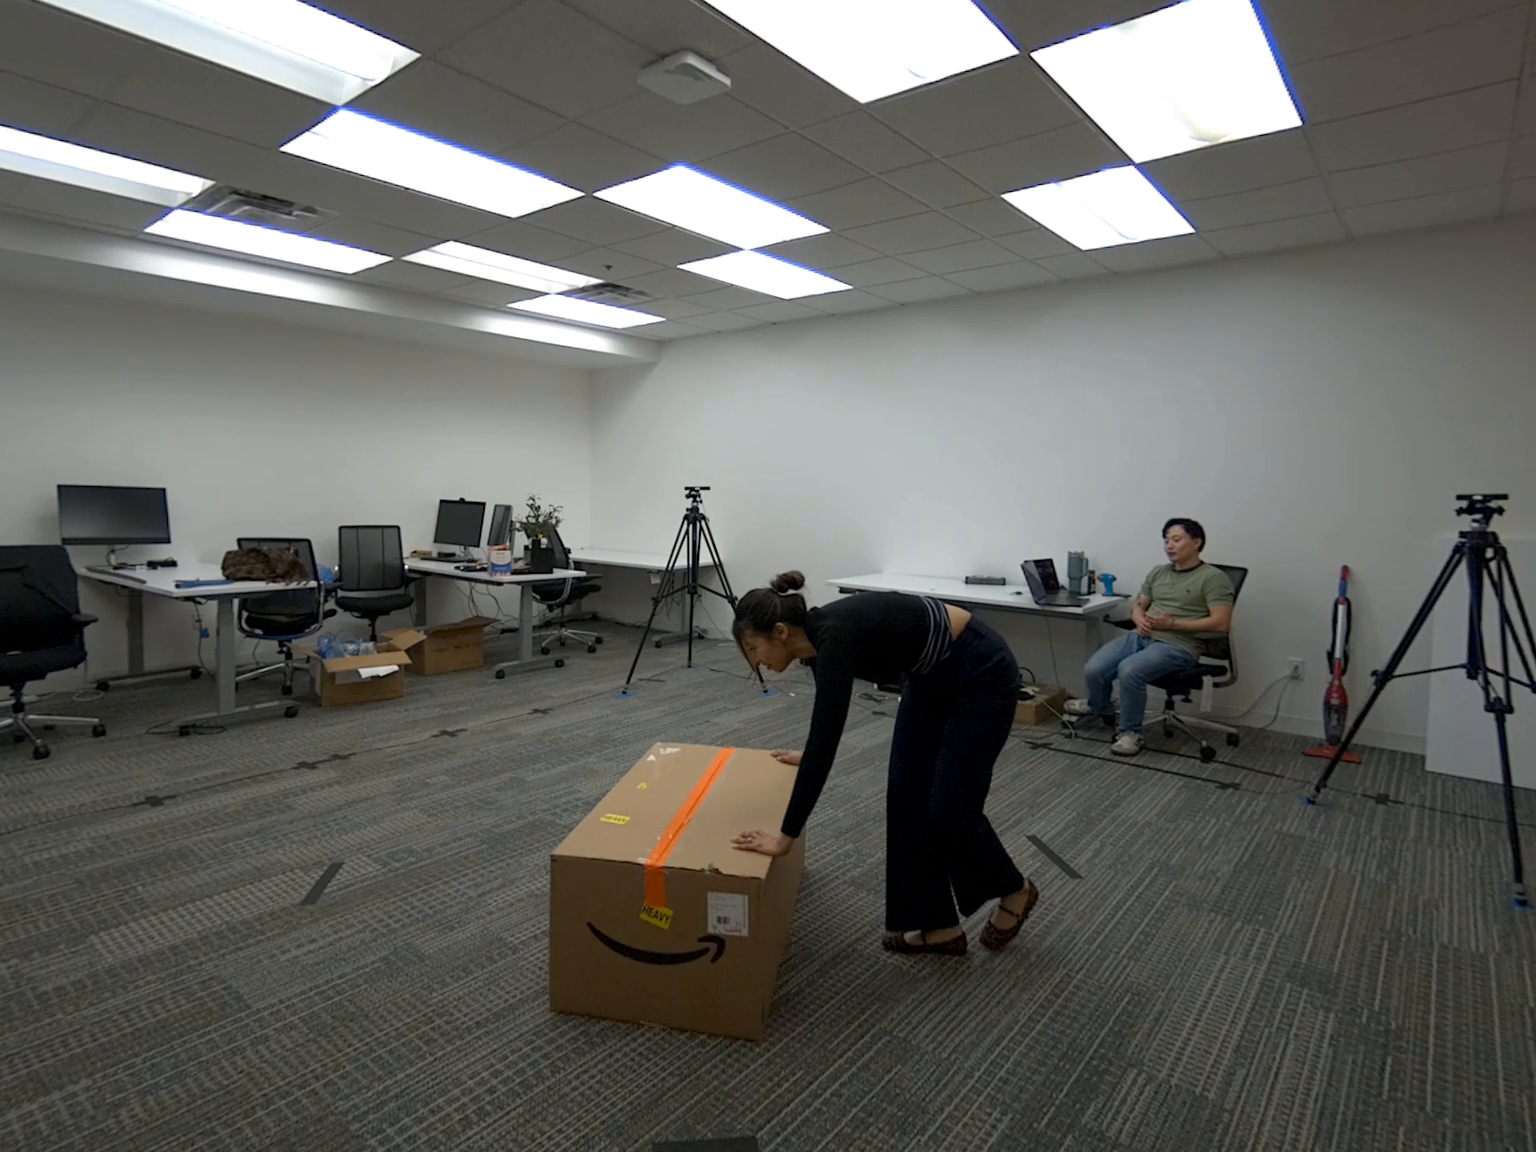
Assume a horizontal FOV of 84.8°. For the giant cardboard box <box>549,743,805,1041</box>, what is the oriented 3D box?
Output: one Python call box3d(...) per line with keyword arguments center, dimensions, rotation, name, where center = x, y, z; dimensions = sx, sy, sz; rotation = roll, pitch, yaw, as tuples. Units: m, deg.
box3d(center=(-0.228, 0.892, 2.673), dimensions=(0.584, 0.424, 1.018), rotation=(3, 6, 9), name="giant cardboard box")
